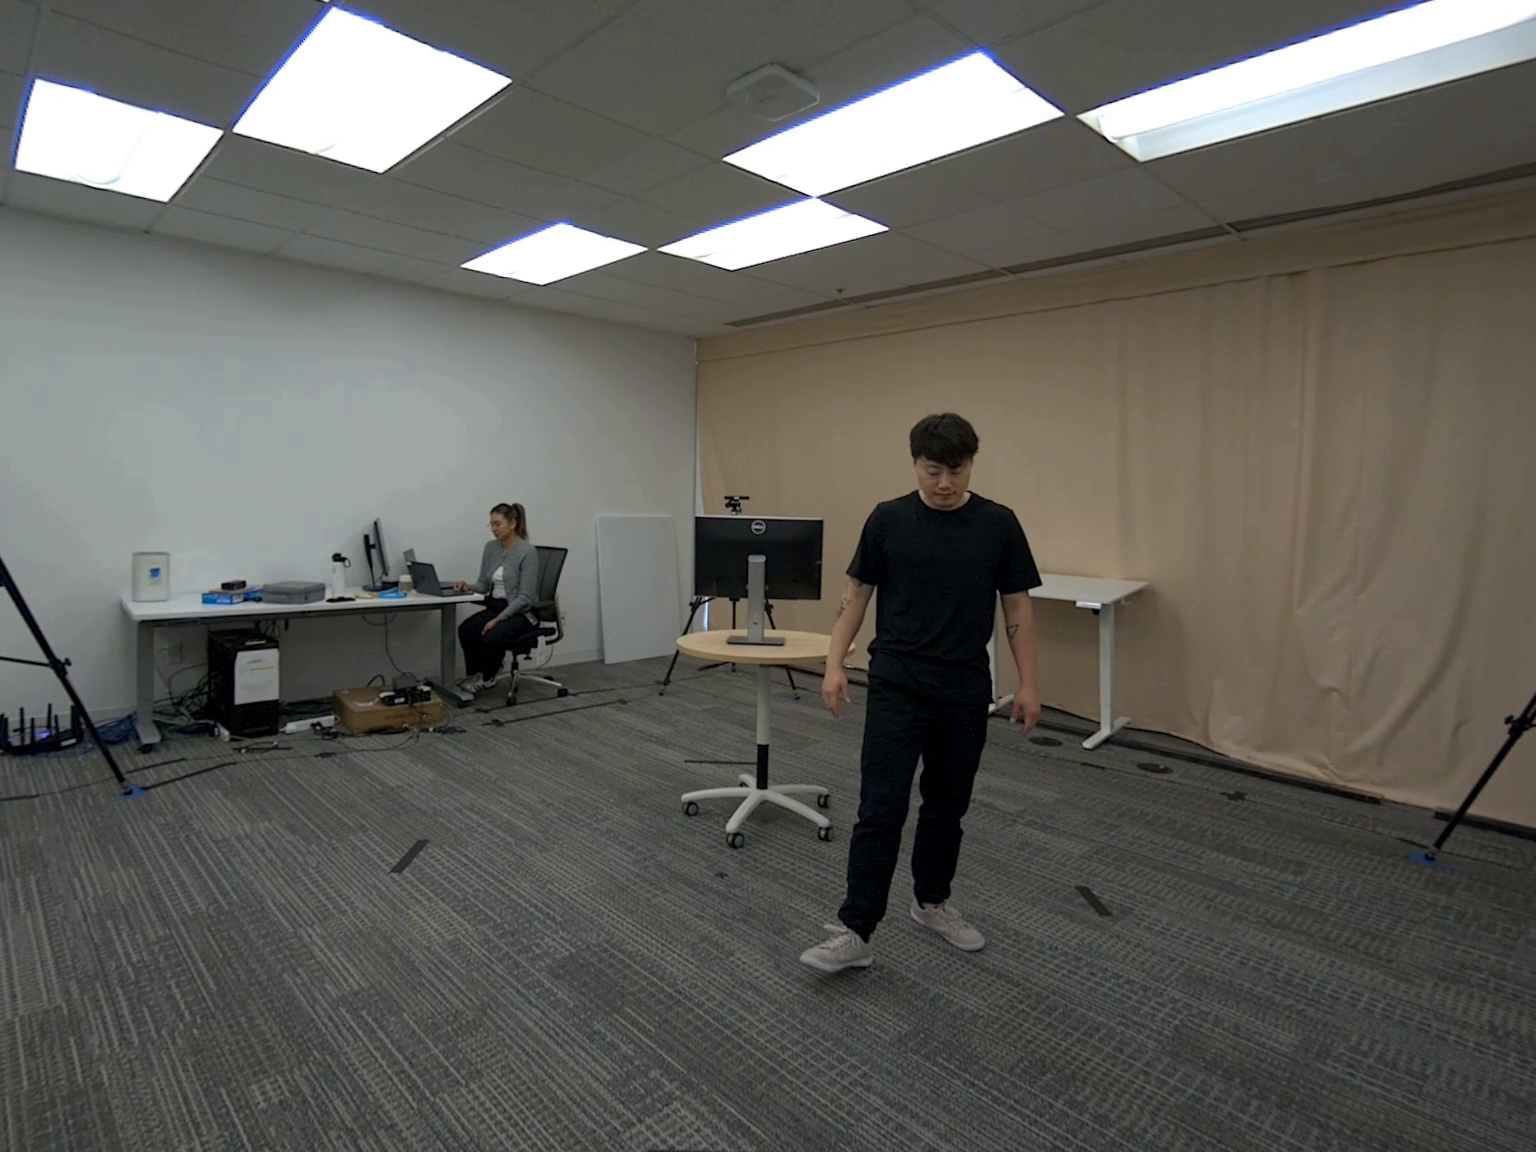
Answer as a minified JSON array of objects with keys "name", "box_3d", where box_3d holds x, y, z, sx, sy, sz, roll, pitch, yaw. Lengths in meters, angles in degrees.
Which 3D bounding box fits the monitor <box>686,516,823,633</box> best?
[{"name":"monitor","box_3d":[-0.051,0.020,3.609,0.540,0.522,0.187,2,1,2]}]
